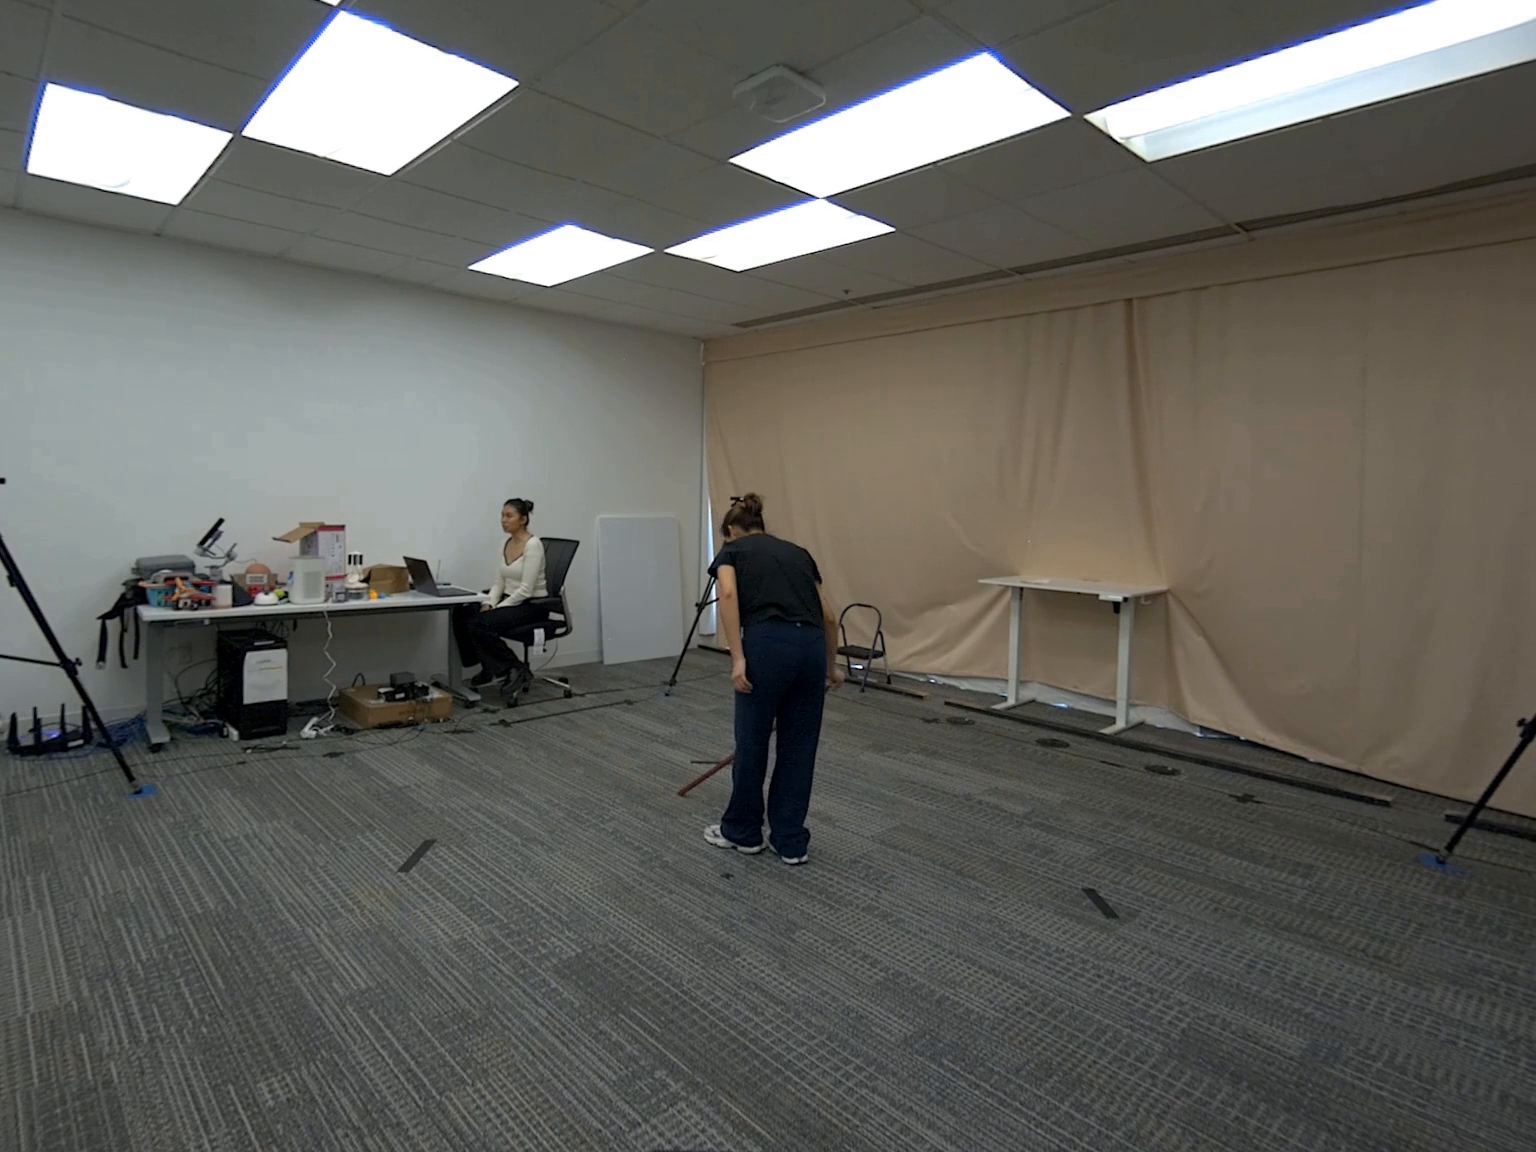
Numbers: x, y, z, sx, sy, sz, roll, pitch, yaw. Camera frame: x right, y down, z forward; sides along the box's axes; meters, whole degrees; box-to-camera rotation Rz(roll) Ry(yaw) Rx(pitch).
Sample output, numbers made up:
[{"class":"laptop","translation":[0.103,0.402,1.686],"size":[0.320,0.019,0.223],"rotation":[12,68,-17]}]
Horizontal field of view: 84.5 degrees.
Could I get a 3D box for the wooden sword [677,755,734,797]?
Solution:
[{"class":"wooden sword","translation":[-0.077,0.729,3.702],"size":[1.027,0.053,0.023],"rotation":[-40,-36,25]}]
